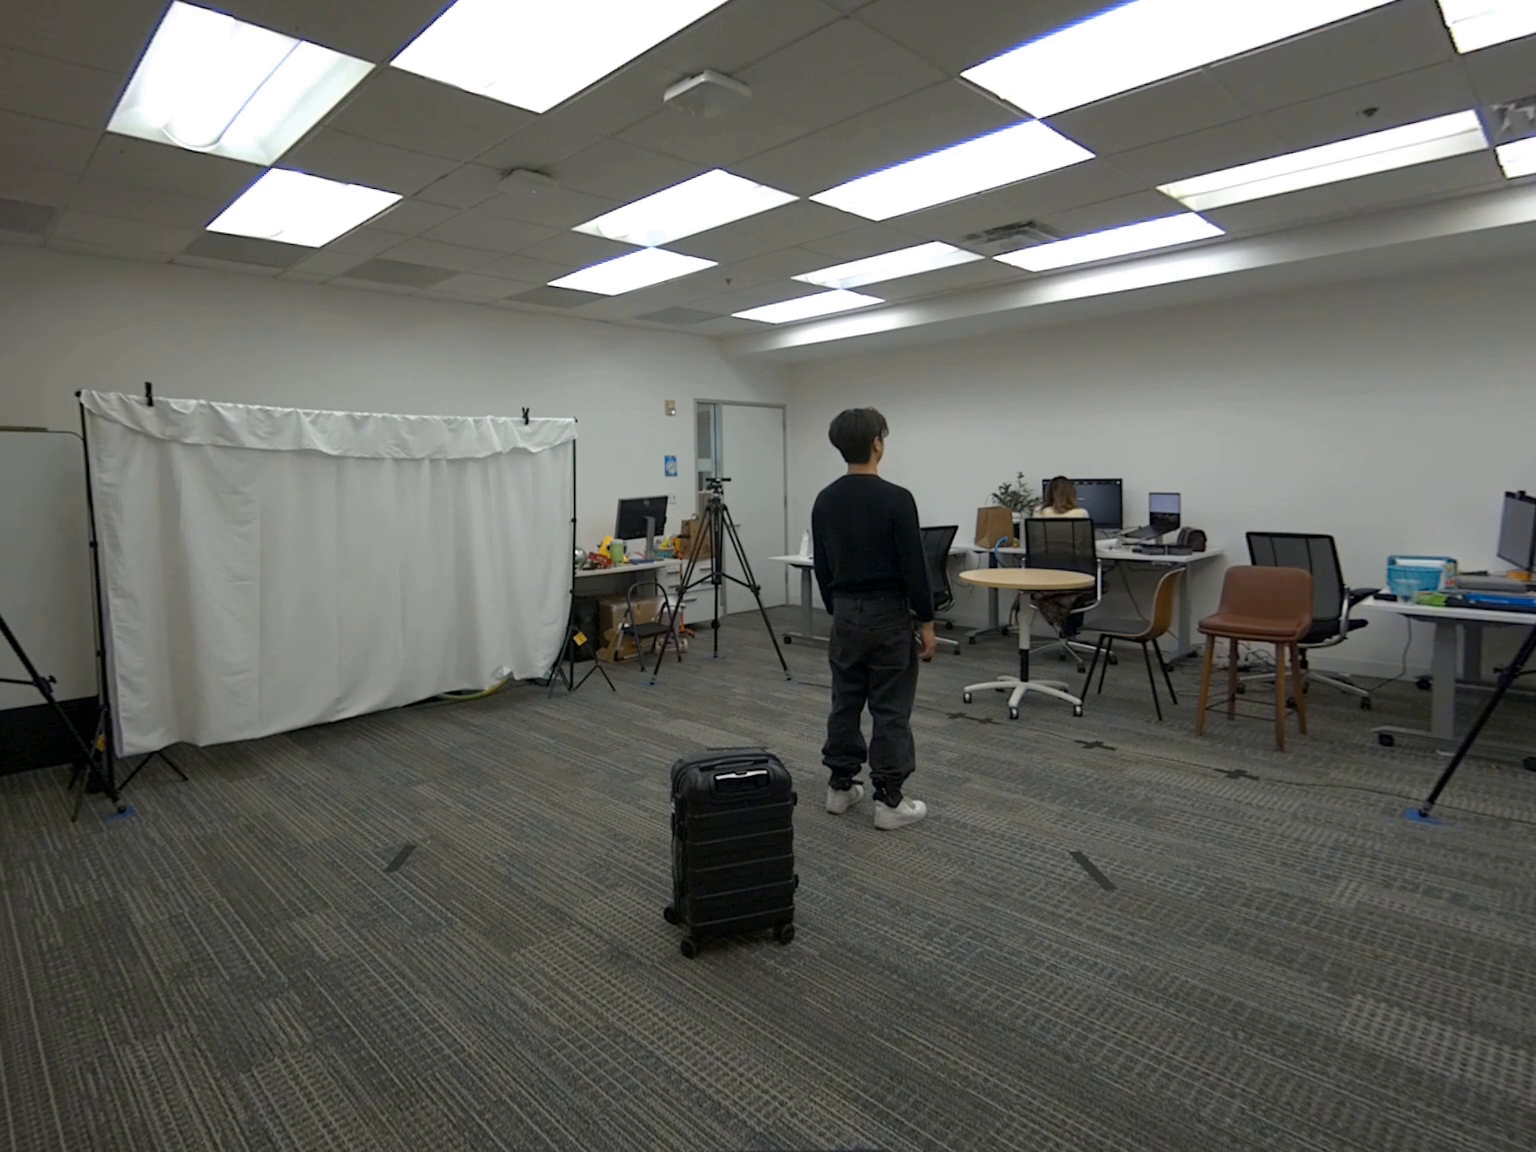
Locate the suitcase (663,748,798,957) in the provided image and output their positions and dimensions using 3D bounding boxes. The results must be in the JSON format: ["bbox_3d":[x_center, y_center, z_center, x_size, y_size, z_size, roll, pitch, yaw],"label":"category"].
[{"bbox_3d":[-0.112,0.822,2.628,0.369,0.548,0.253,-2,3,-19],"label":"suitcase"}]
